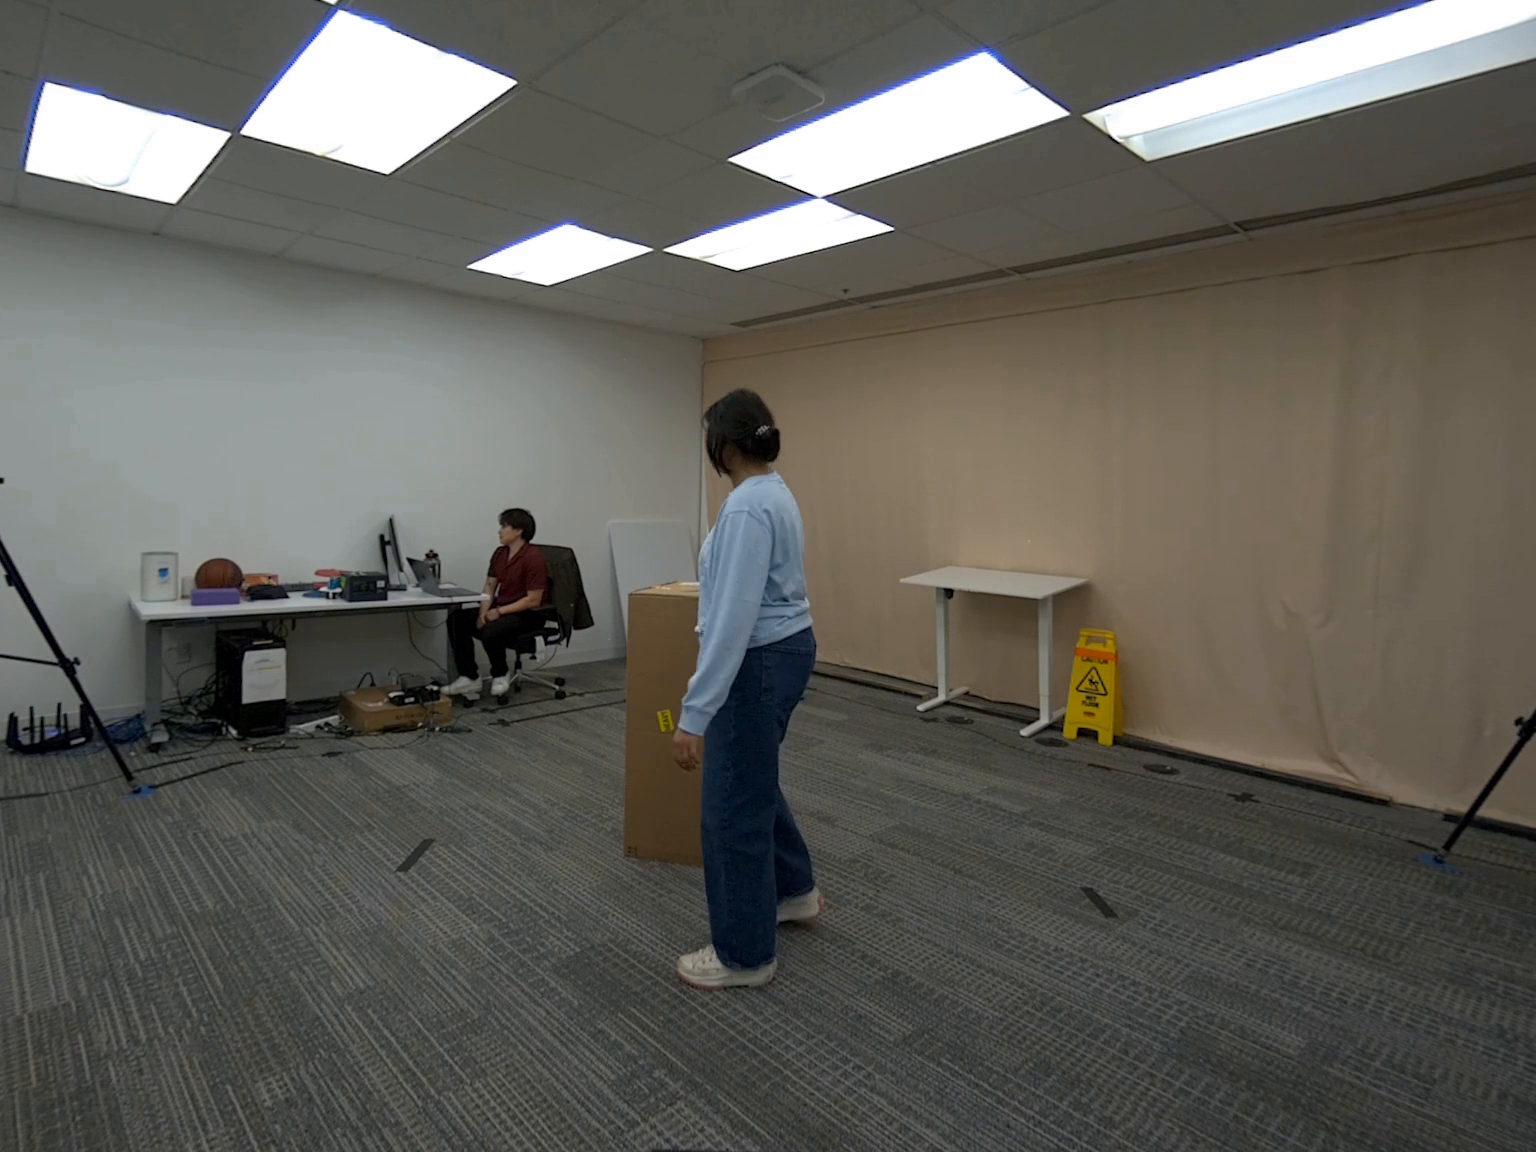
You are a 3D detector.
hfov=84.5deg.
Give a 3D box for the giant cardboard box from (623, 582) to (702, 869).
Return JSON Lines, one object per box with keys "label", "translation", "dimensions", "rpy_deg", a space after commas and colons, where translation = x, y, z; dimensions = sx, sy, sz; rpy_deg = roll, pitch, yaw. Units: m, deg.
{"label": "giant cardboard box", "translation": [-0.283, 0.561, 3.438], "dimensions": [0.431, 1.023, 0.572], "rpy_deg": [2, 4, 14]}
